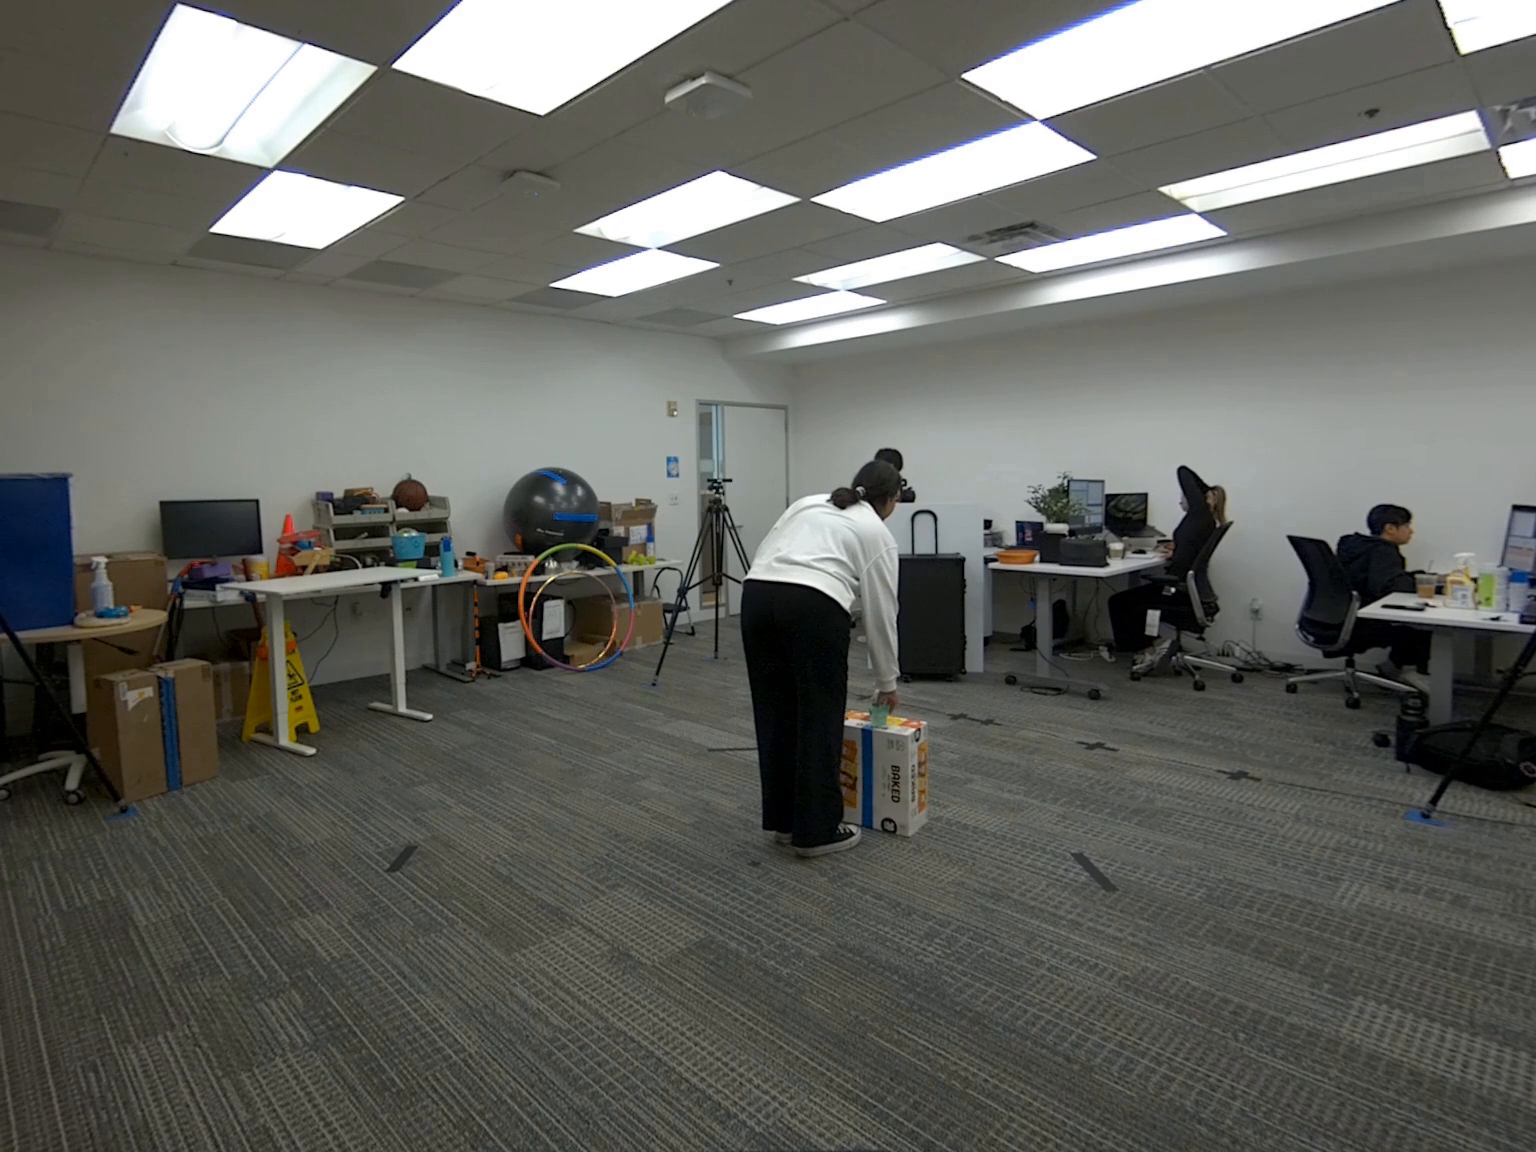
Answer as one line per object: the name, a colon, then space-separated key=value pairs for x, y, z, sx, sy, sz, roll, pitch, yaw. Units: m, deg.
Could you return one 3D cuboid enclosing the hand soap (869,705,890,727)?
hand soap: x=0.443 y=0.508 z=3.433 sx=0.087 sy=0.168 sz=0.042 roll=-1 pitch=2 yaw=41
